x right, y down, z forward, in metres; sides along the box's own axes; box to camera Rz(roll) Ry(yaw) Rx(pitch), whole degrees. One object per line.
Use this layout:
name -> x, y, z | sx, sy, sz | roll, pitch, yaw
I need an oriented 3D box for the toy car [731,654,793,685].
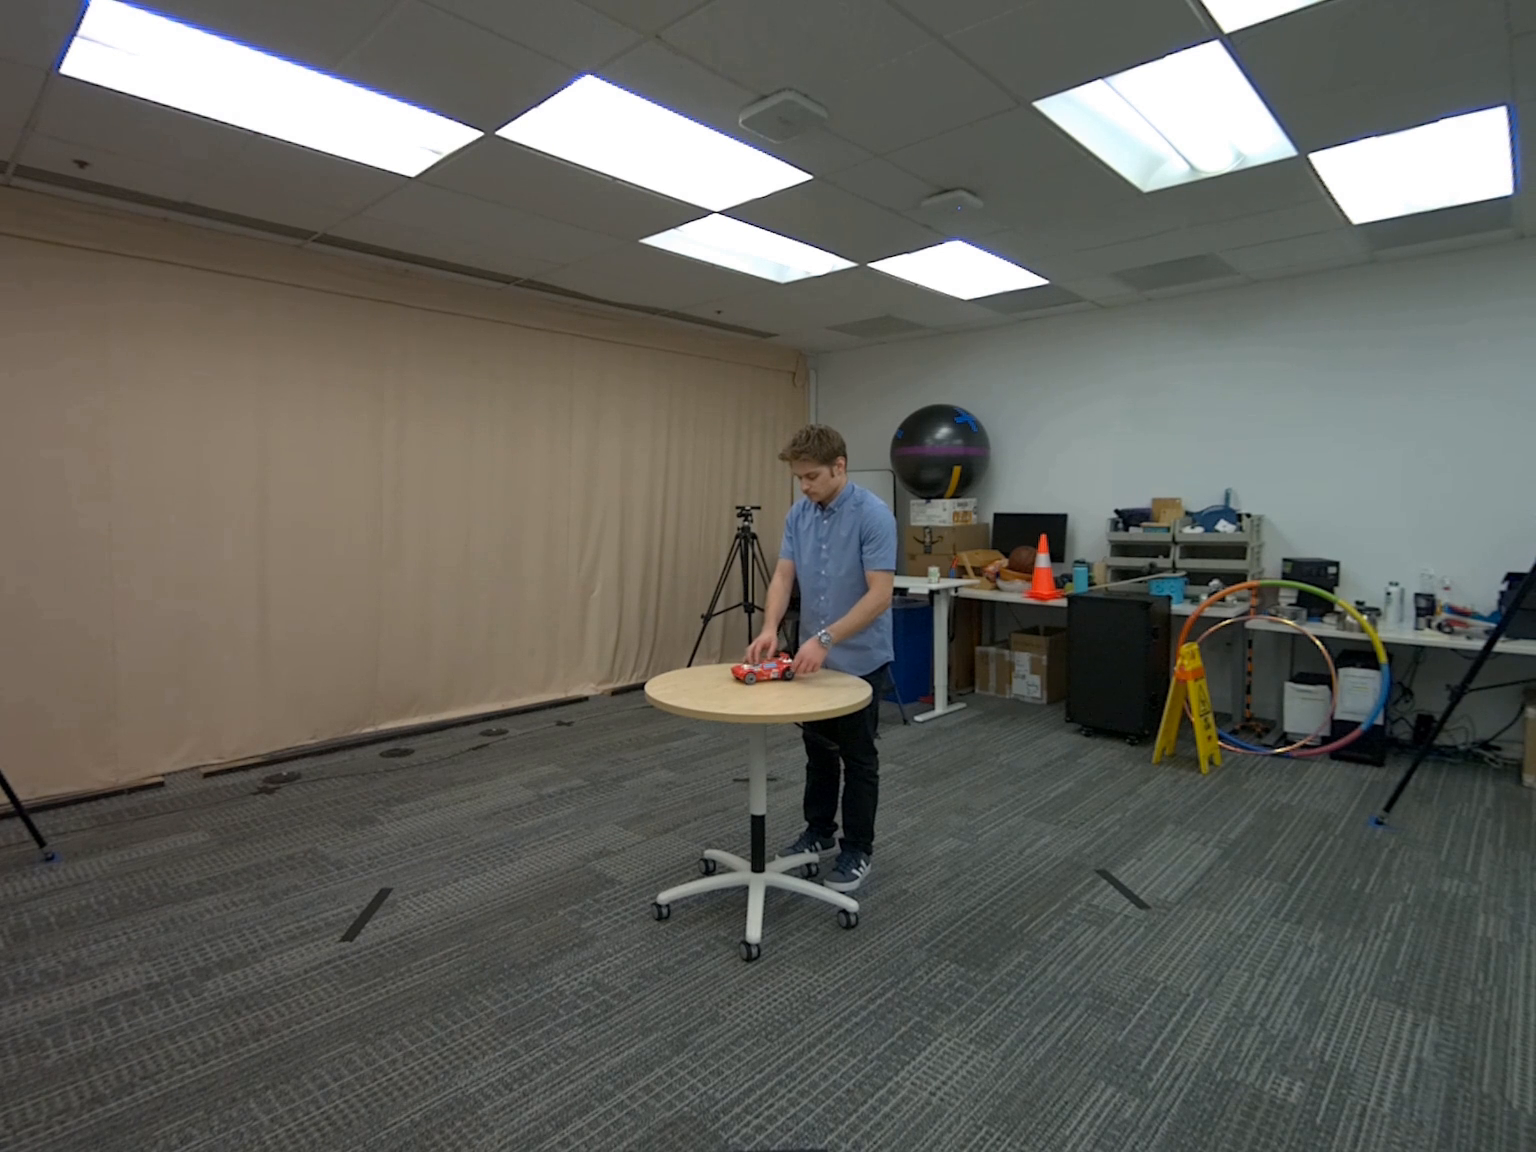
toy car -> 0.000, 0.332, 2.947 | 0.250, 0.082, 0.133 | -14, 10, -21
